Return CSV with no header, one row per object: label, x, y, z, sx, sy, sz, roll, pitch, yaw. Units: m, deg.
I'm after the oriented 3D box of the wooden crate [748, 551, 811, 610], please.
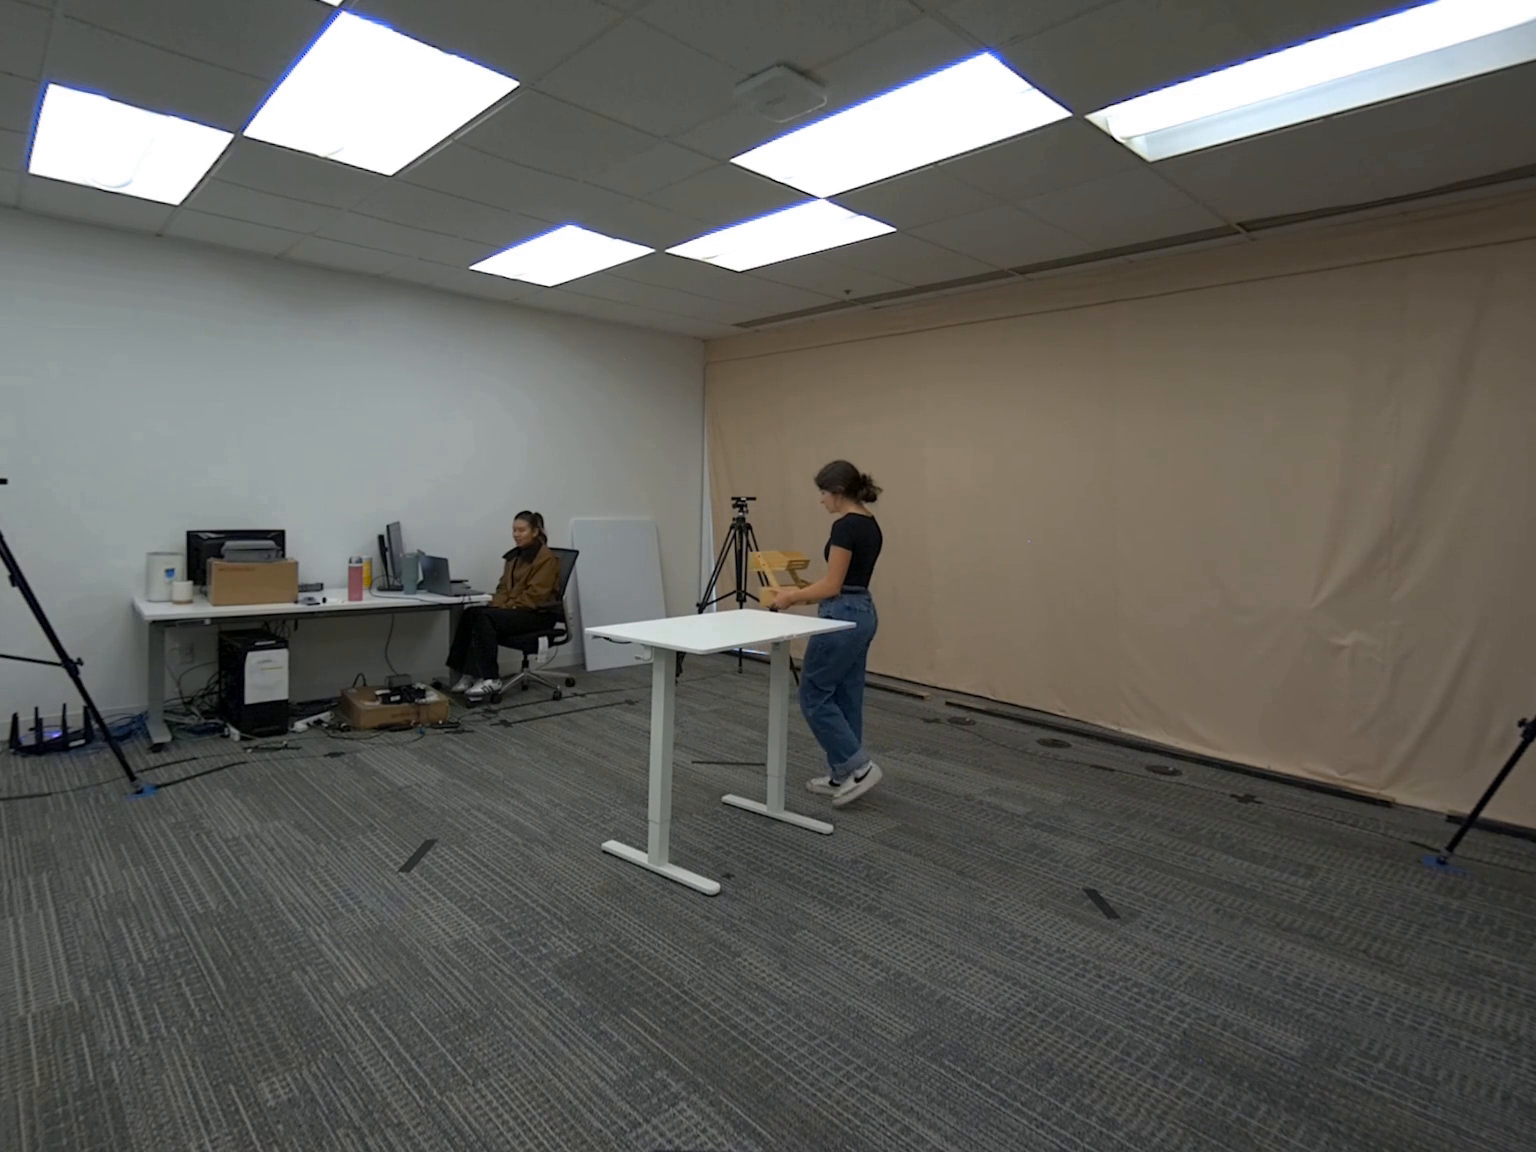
wooden crate,0.101,0.003,4.101,0.307,0.273,0.319,-3,-1,23
